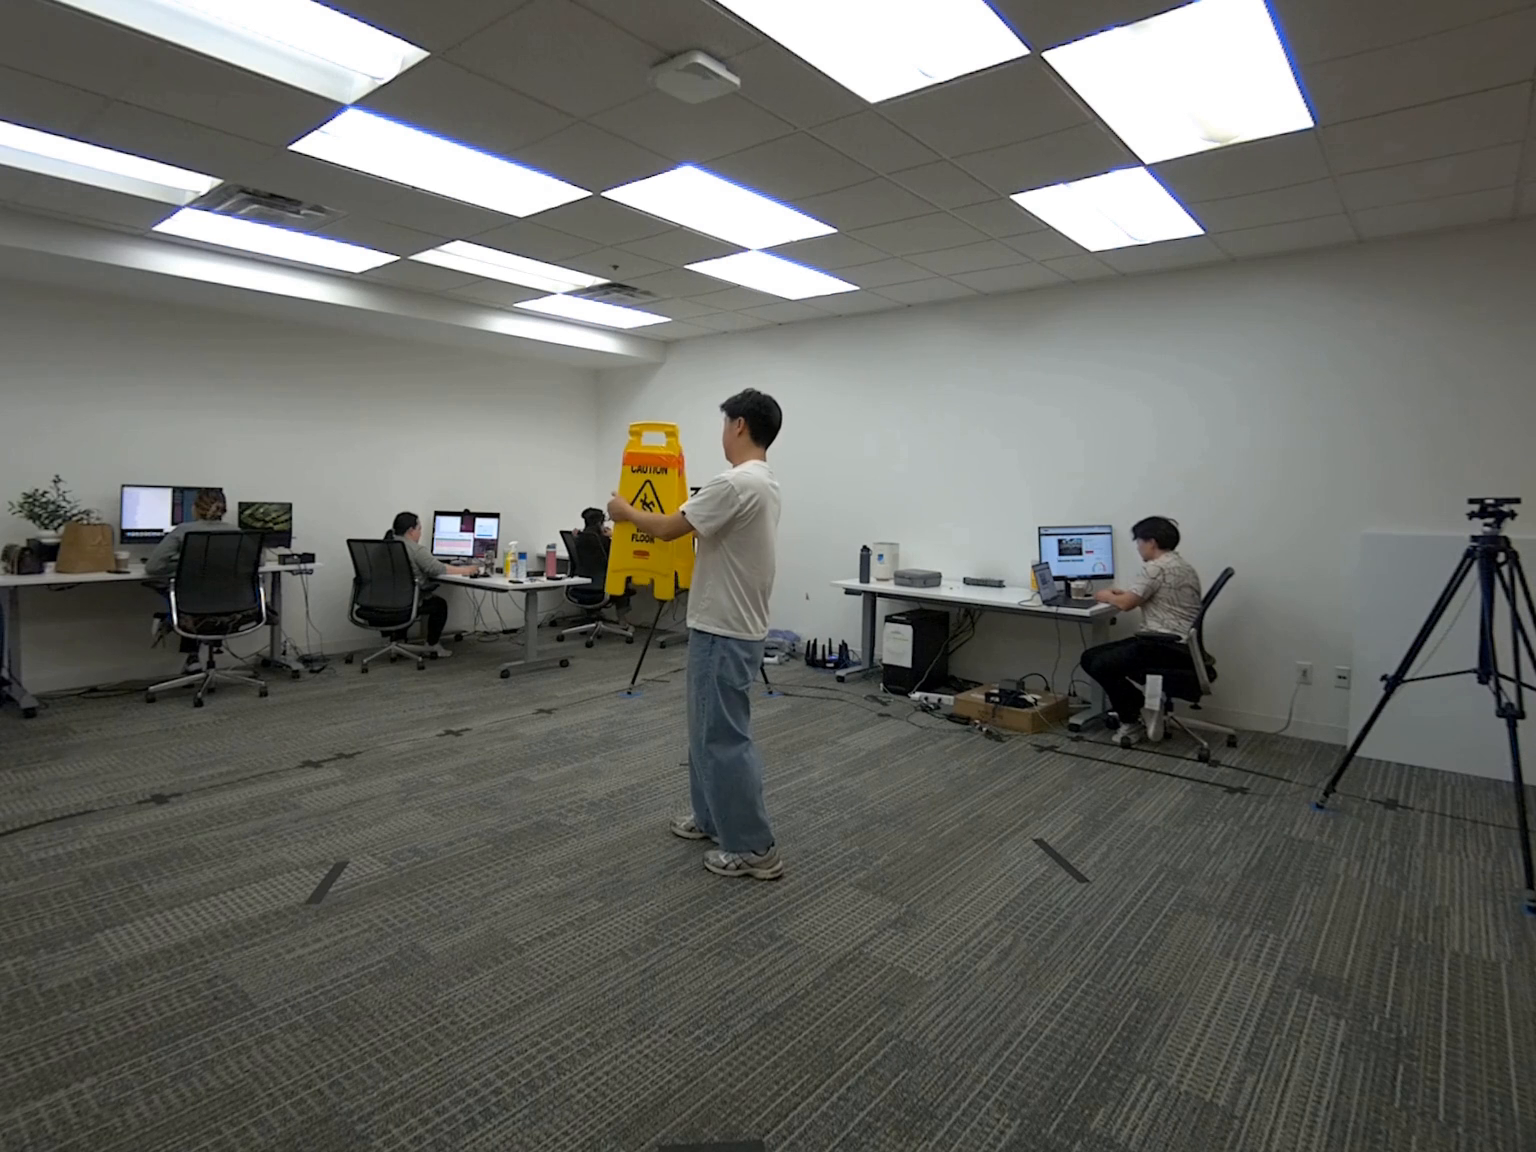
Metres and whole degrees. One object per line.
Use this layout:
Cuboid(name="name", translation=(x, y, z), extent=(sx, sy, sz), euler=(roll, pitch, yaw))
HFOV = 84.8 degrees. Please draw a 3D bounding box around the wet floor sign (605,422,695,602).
Cuboid(name="wet floor sign", translation=(-0.459, -0.262, 3.269), extent=(0.288, 0.641, 0.286), euler=(4, 8, 17))
